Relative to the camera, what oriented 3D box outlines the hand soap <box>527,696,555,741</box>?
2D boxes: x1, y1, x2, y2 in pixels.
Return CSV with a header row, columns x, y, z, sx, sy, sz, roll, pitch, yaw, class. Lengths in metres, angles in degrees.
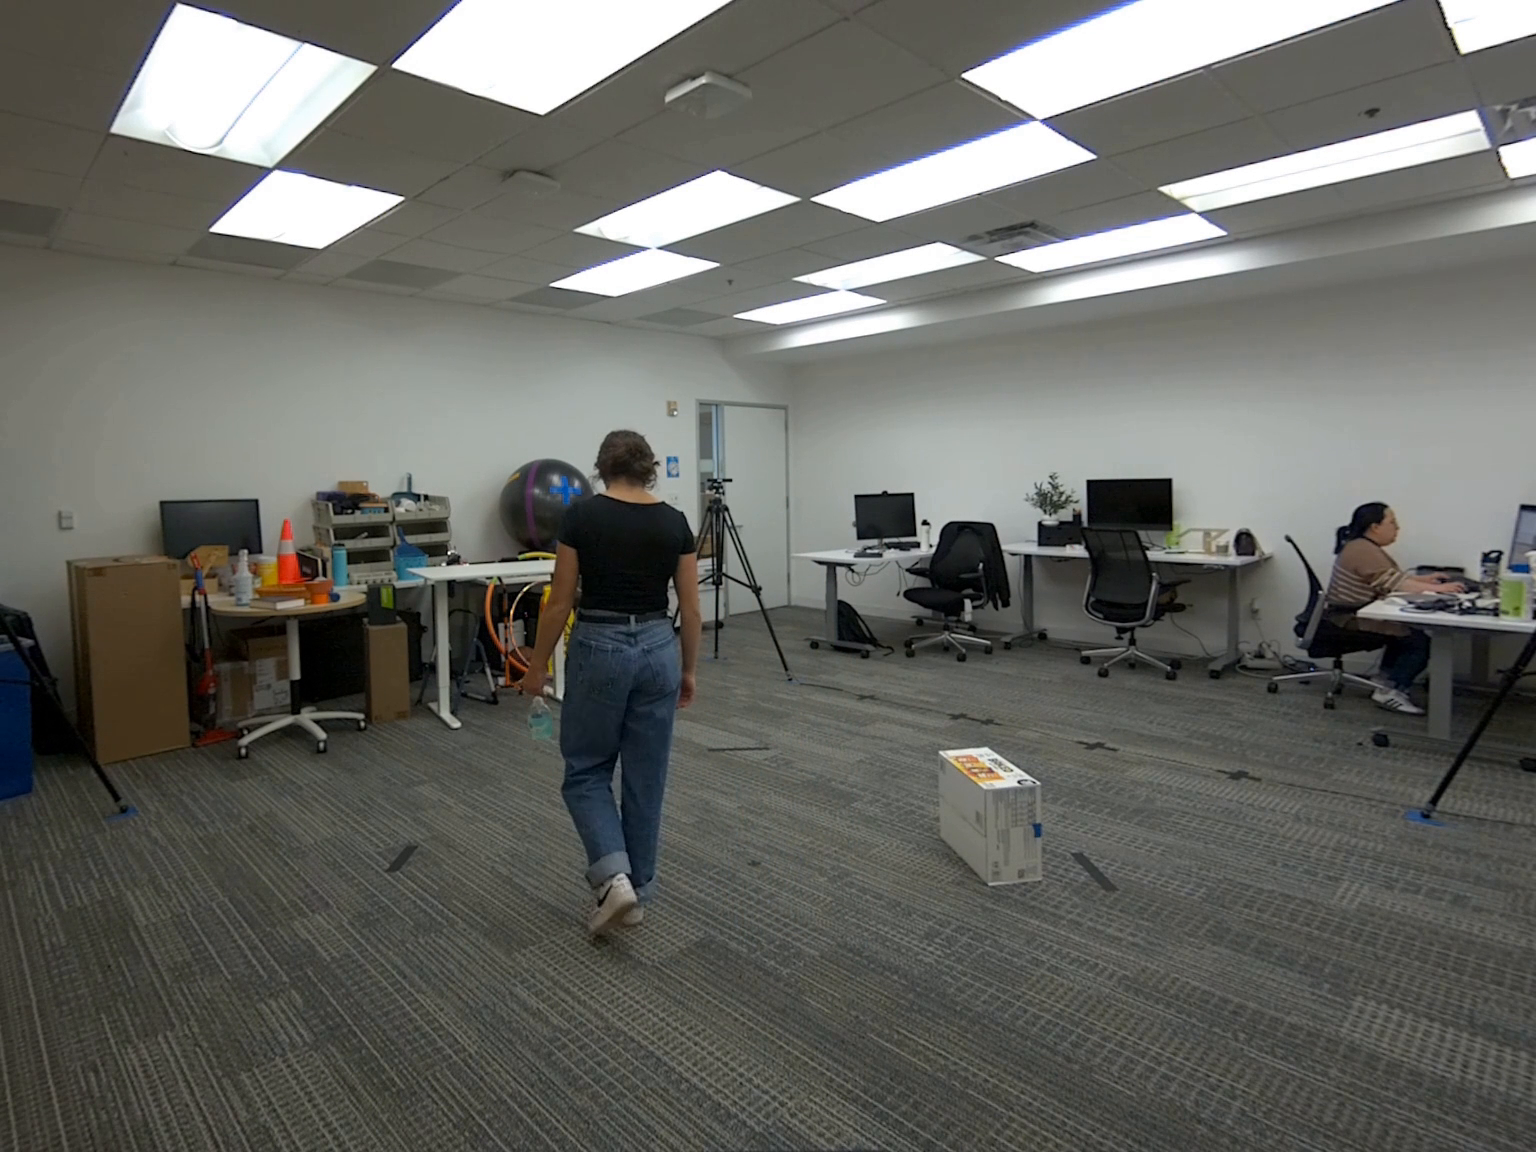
x,y,z,sx,sy,sz,roll,pitch,yaw,class
-0.741,0.452,2.784,0.085,0.167,0.043,-3,7,9,hand soap
